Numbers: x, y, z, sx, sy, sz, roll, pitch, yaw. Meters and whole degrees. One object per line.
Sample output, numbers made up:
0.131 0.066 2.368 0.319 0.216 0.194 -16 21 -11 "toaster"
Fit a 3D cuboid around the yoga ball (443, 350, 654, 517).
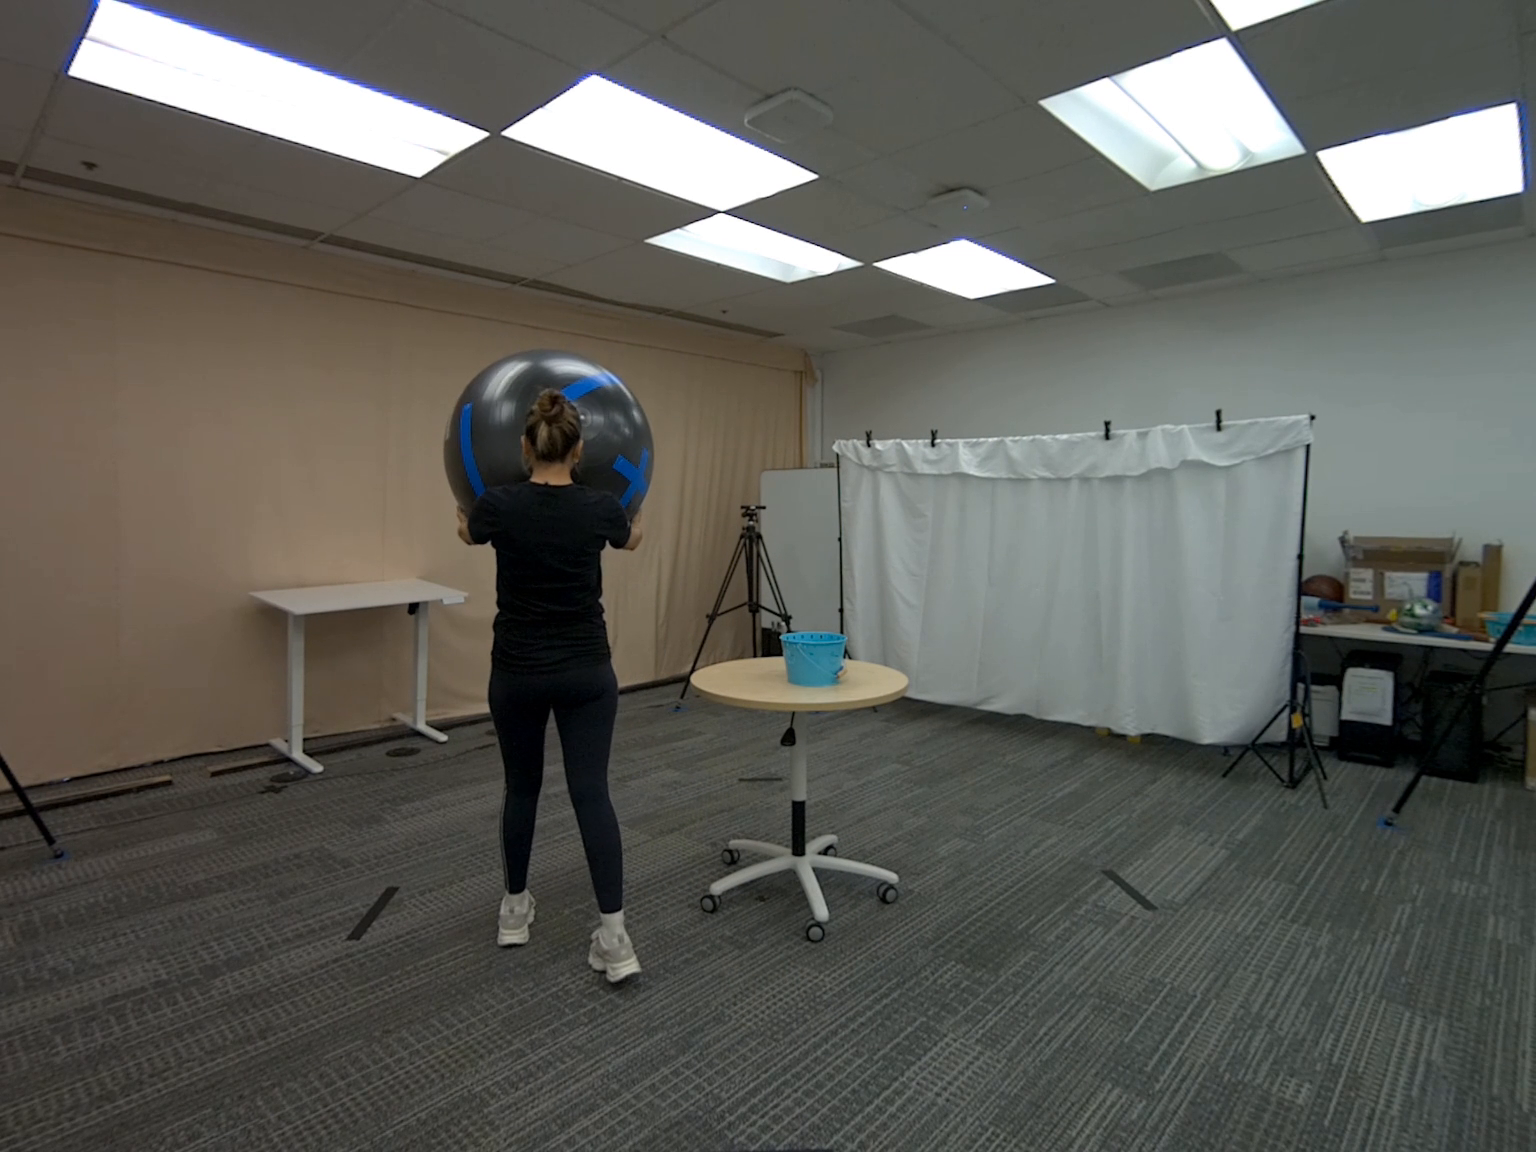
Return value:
-0.795 -0.444 3.101 0.757 0.756 0.761 0 4 -2 "yoga ball"
